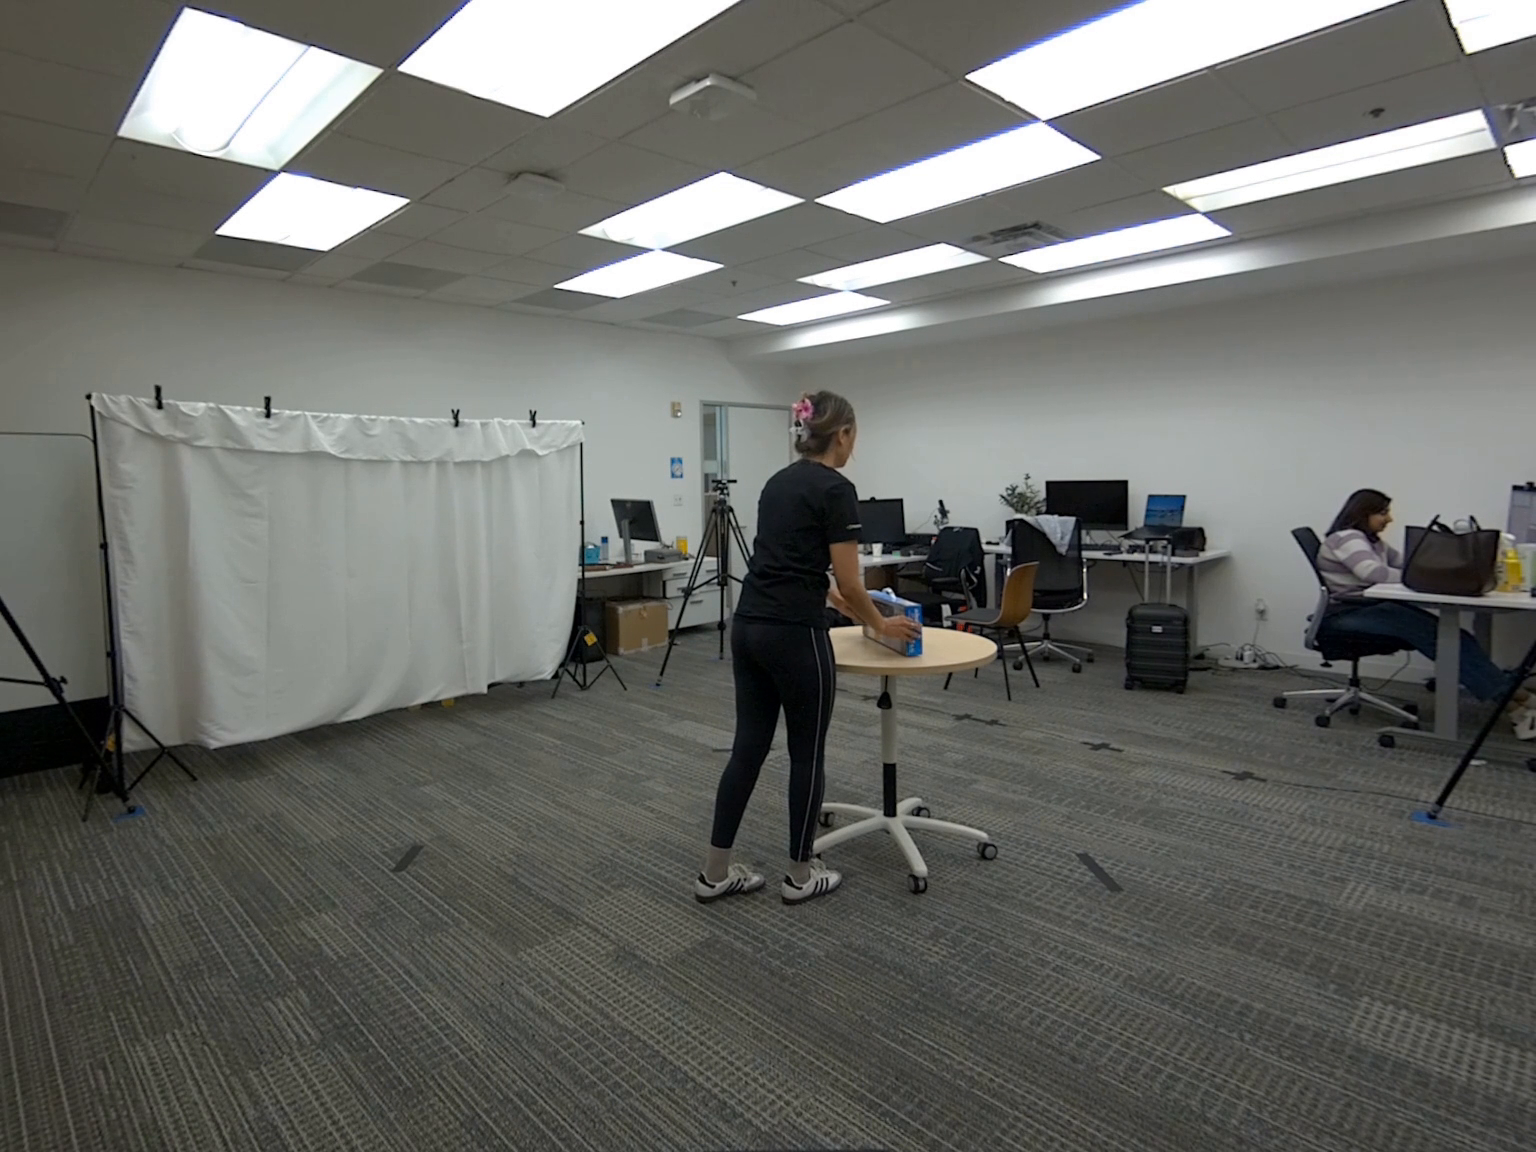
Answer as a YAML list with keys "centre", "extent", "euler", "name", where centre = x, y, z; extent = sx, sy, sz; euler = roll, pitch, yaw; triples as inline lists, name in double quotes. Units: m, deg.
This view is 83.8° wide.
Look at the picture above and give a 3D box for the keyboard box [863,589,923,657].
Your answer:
- centre: [0.452, 0.163, 3.112]
  extent: [0.058, 0.175, 0.443]
  euler: [-2, 6, -13]
  name: "keyboard box"
